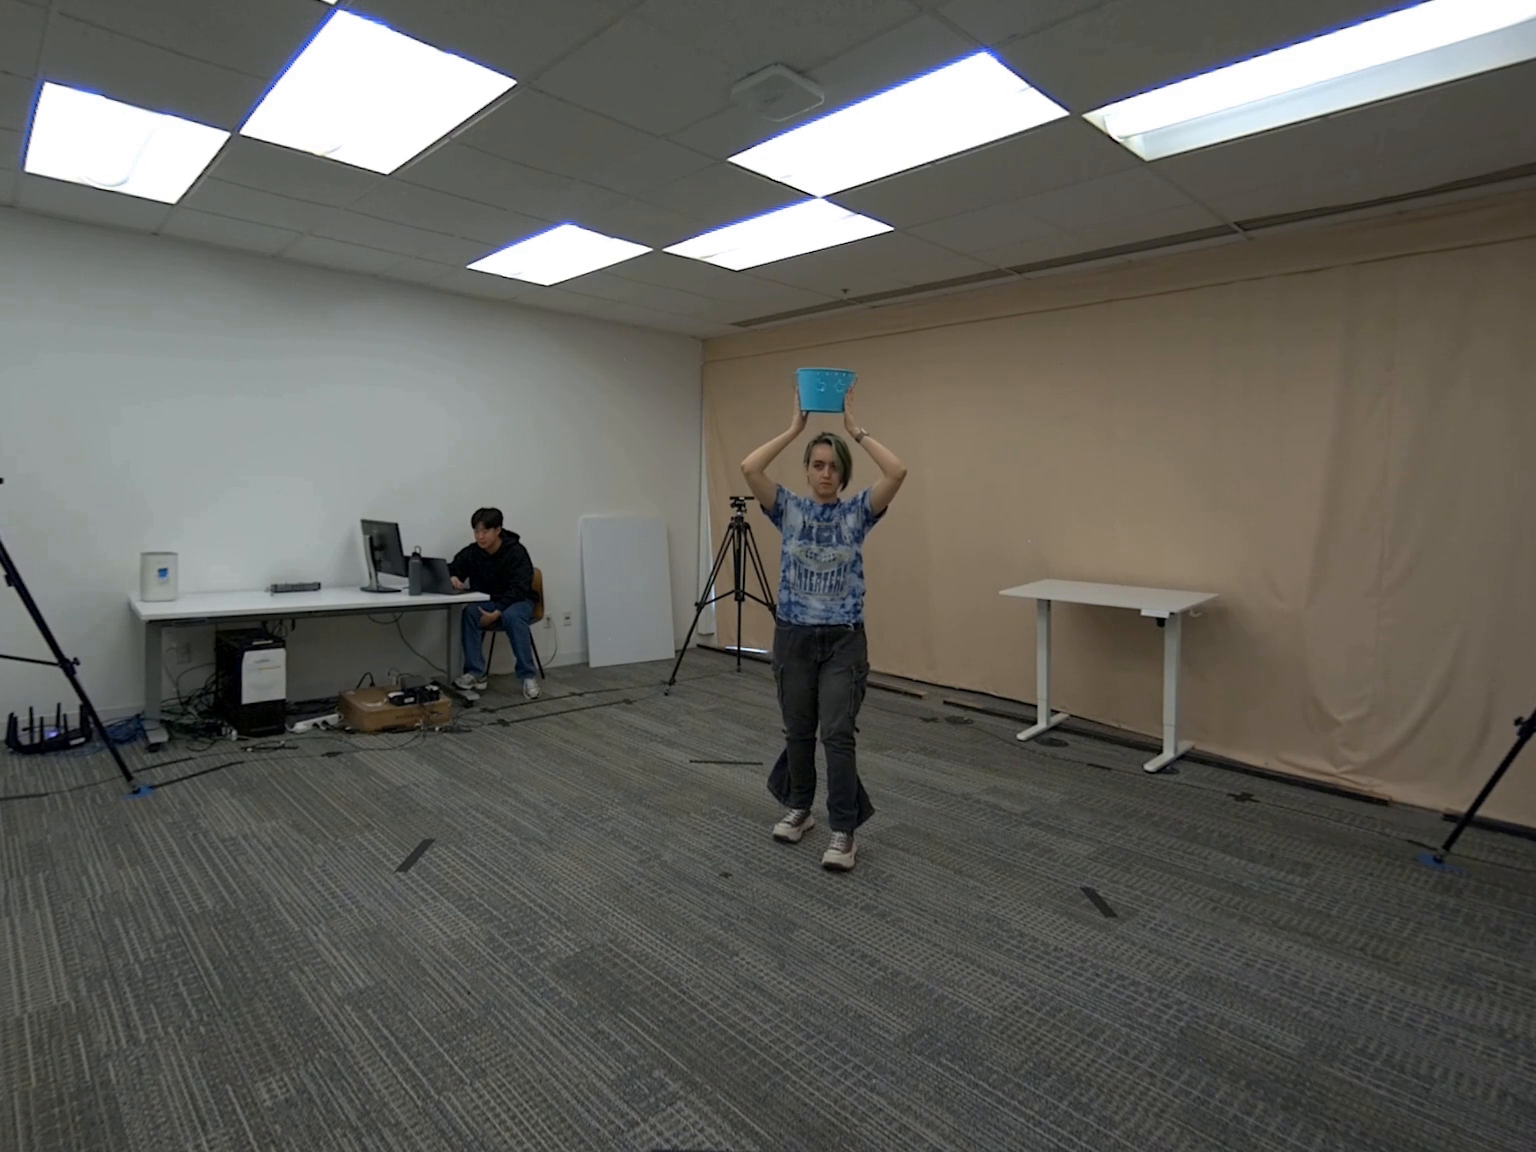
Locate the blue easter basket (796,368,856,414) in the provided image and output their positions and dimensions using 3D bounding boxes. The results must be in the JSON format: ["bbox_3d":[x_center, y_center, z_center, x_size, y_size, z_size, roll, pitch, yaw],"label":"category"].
[{"bbox_3d":[0.226,-0.712,3.239,0.243,0.155,0.245,3,8,-2],"label":"blue easter basket"}]
